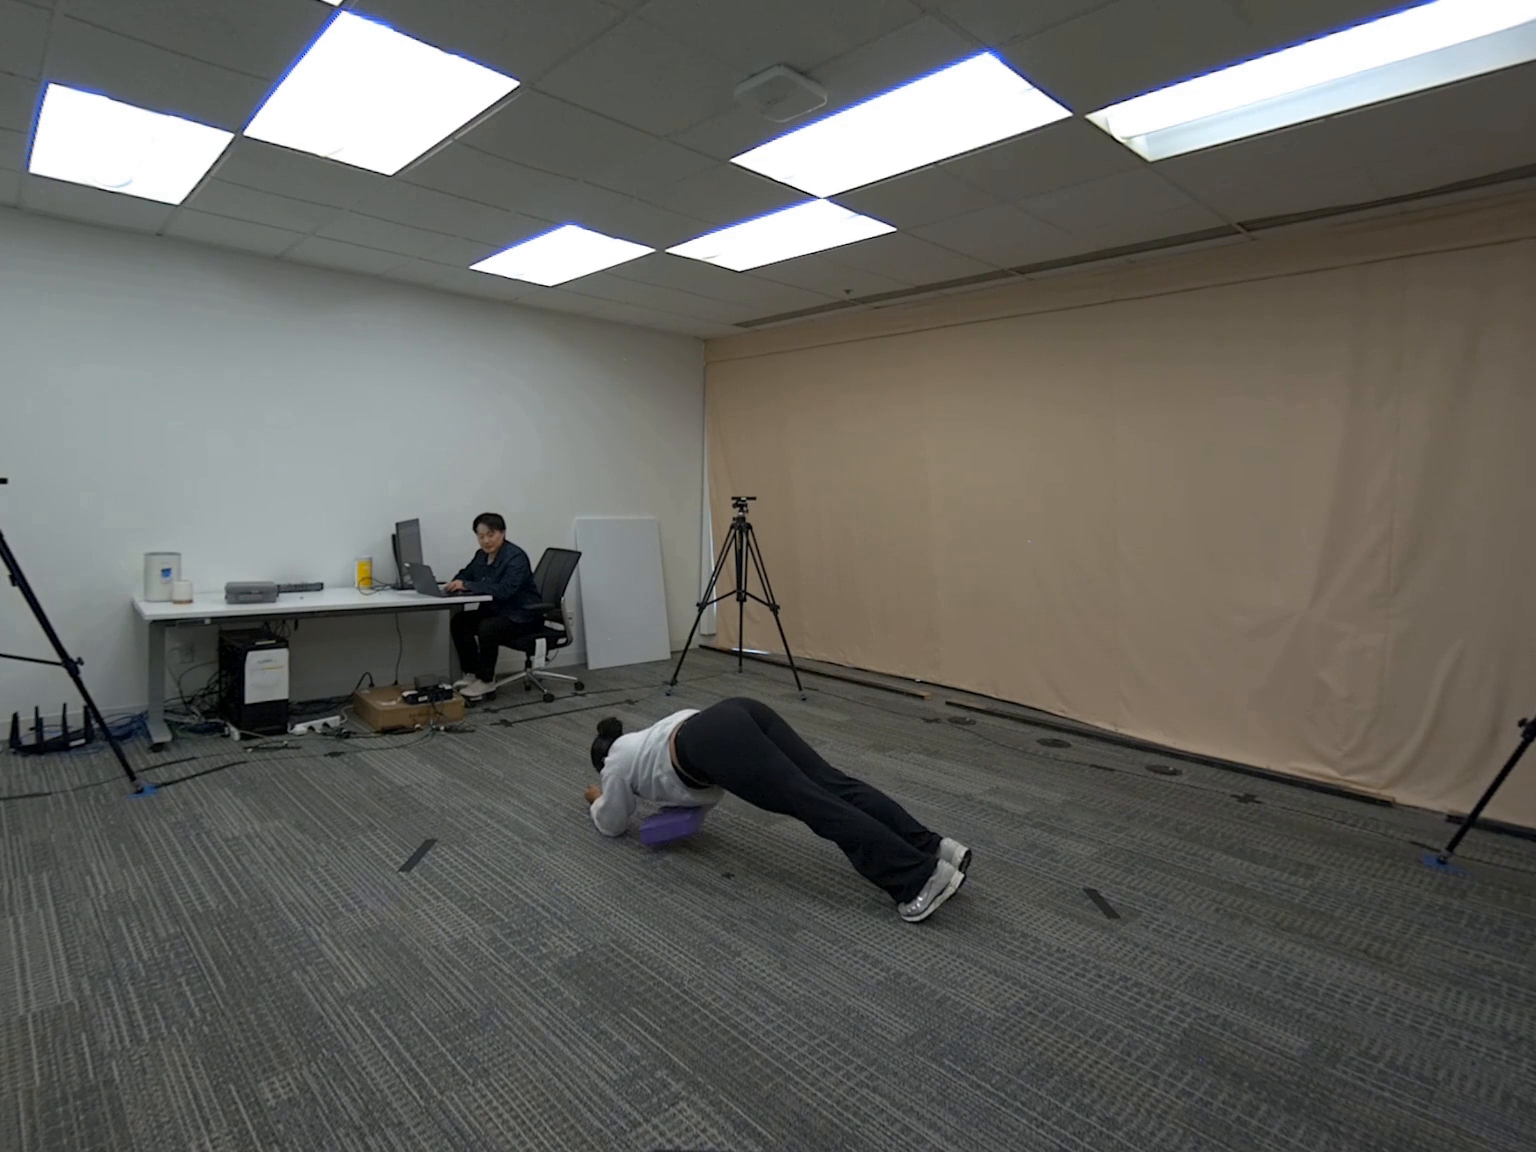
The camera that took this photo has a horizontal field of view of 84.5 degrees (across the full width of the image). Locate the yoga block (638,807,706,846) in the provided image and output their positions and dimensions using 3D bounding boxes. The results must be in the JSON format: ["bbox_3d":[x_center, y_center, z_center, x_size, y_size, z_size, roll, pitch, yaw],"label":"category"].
[{"bbox_3d":[-0.412,0.979,3.336,0.231,0.076,0.148,-17,1,12],"label":"yoga block"}]
